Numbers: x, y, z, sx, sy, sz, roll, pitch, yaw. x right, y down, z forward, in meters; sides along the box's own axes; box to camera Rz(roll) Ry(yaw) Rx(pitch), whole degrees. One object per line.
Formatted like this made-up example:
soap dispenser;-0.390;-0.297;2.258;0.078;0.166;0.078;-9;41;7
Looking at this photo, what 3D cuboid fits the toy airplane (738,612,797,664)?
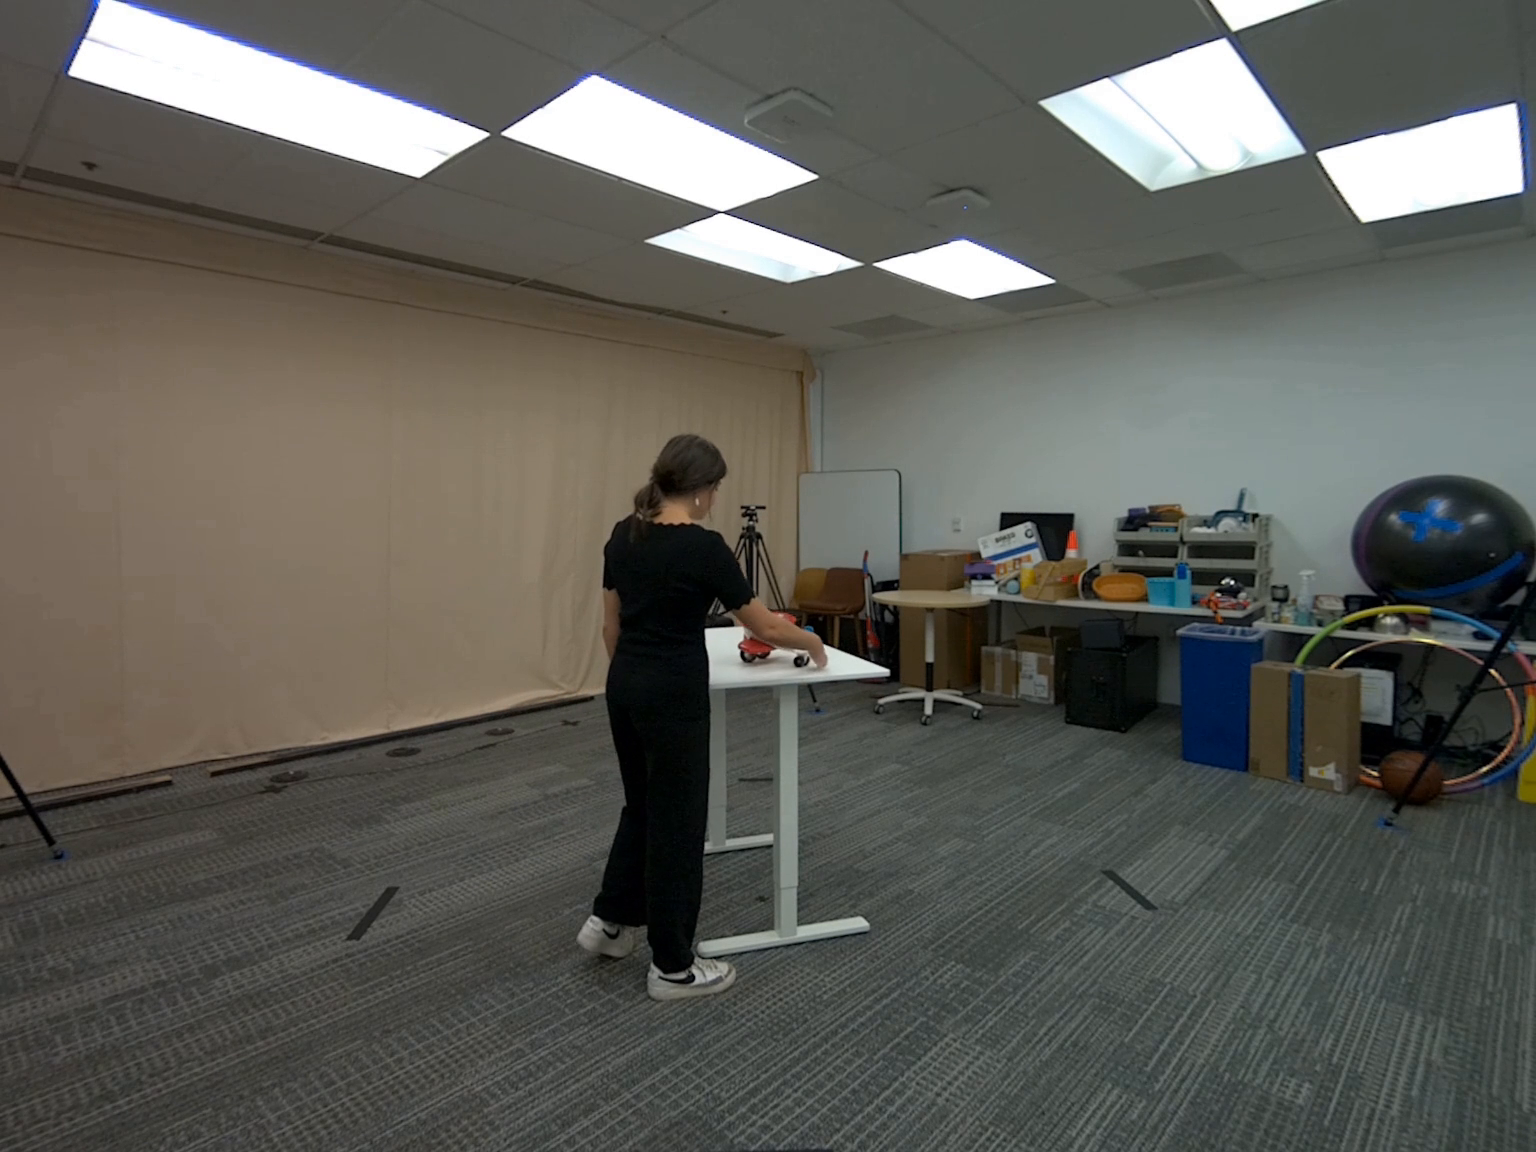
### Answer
toy airplane;0.040;0.206;2.751;0.261;0.156;0.250;0;5;5
